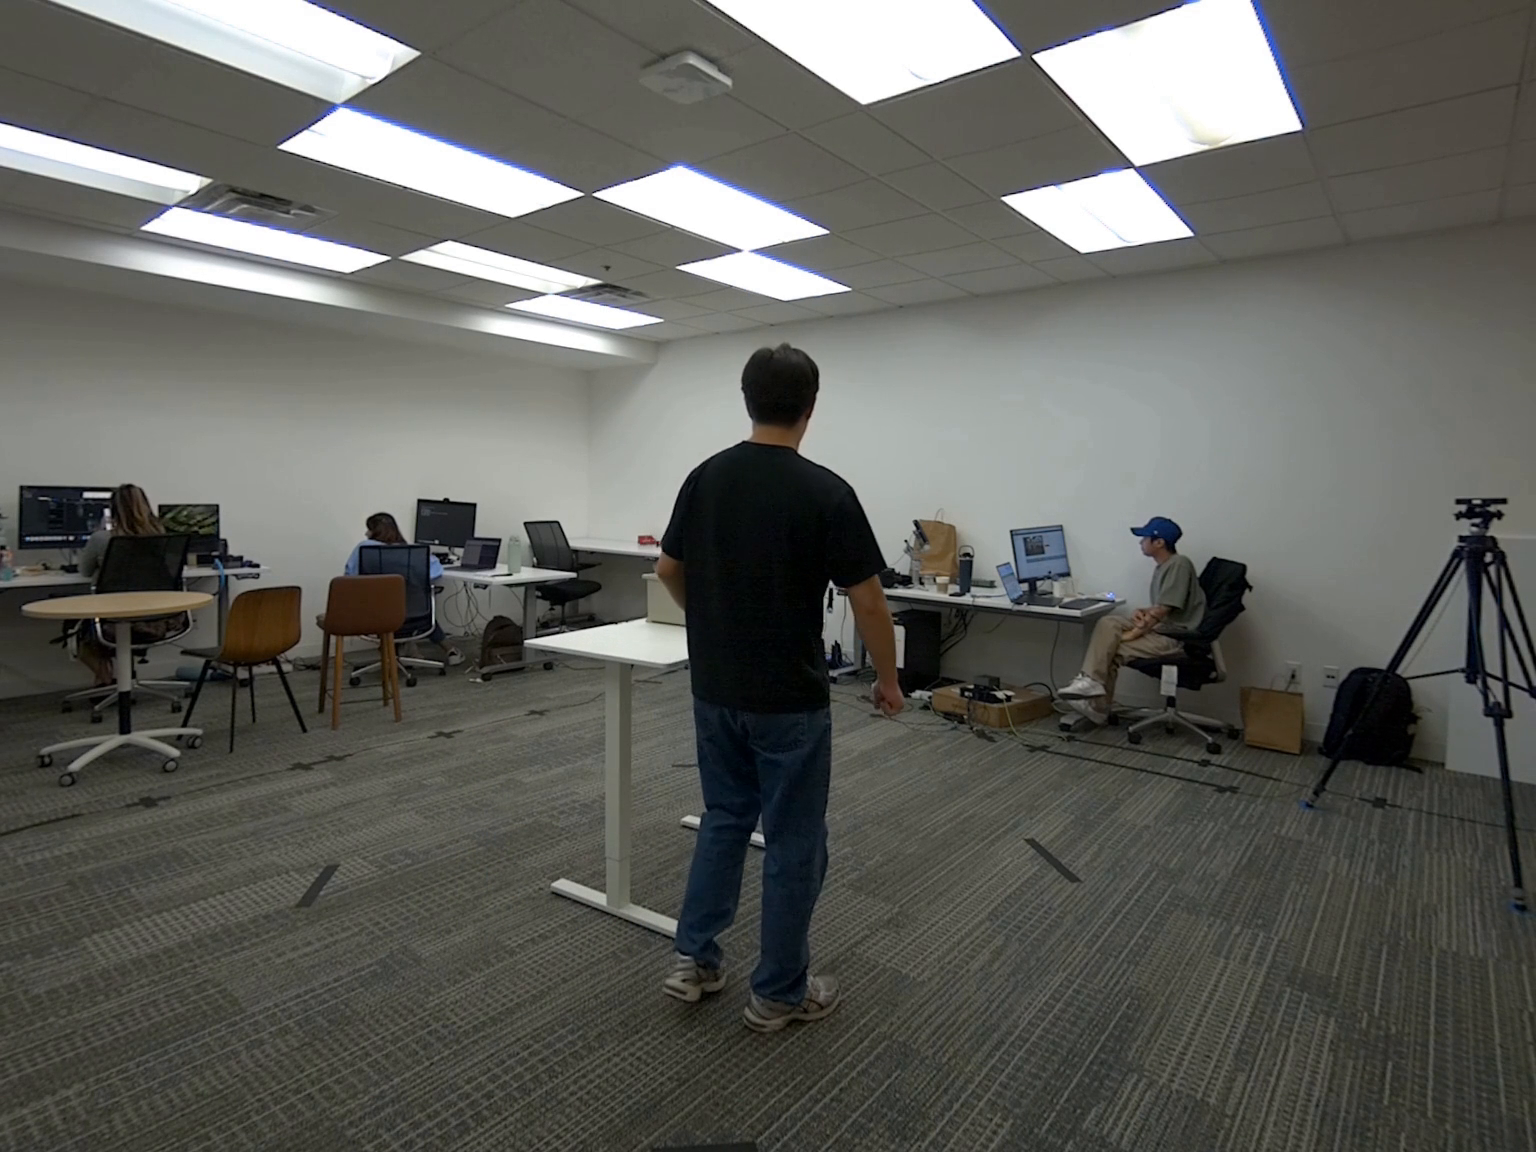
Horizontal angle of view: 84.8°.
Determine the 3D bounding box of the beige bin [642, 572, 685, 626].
[{"bbox_3d":[-0.204,0.086,3.233,0.436,0.188,0.367,4,8,37],"label":"beige bin"}]
